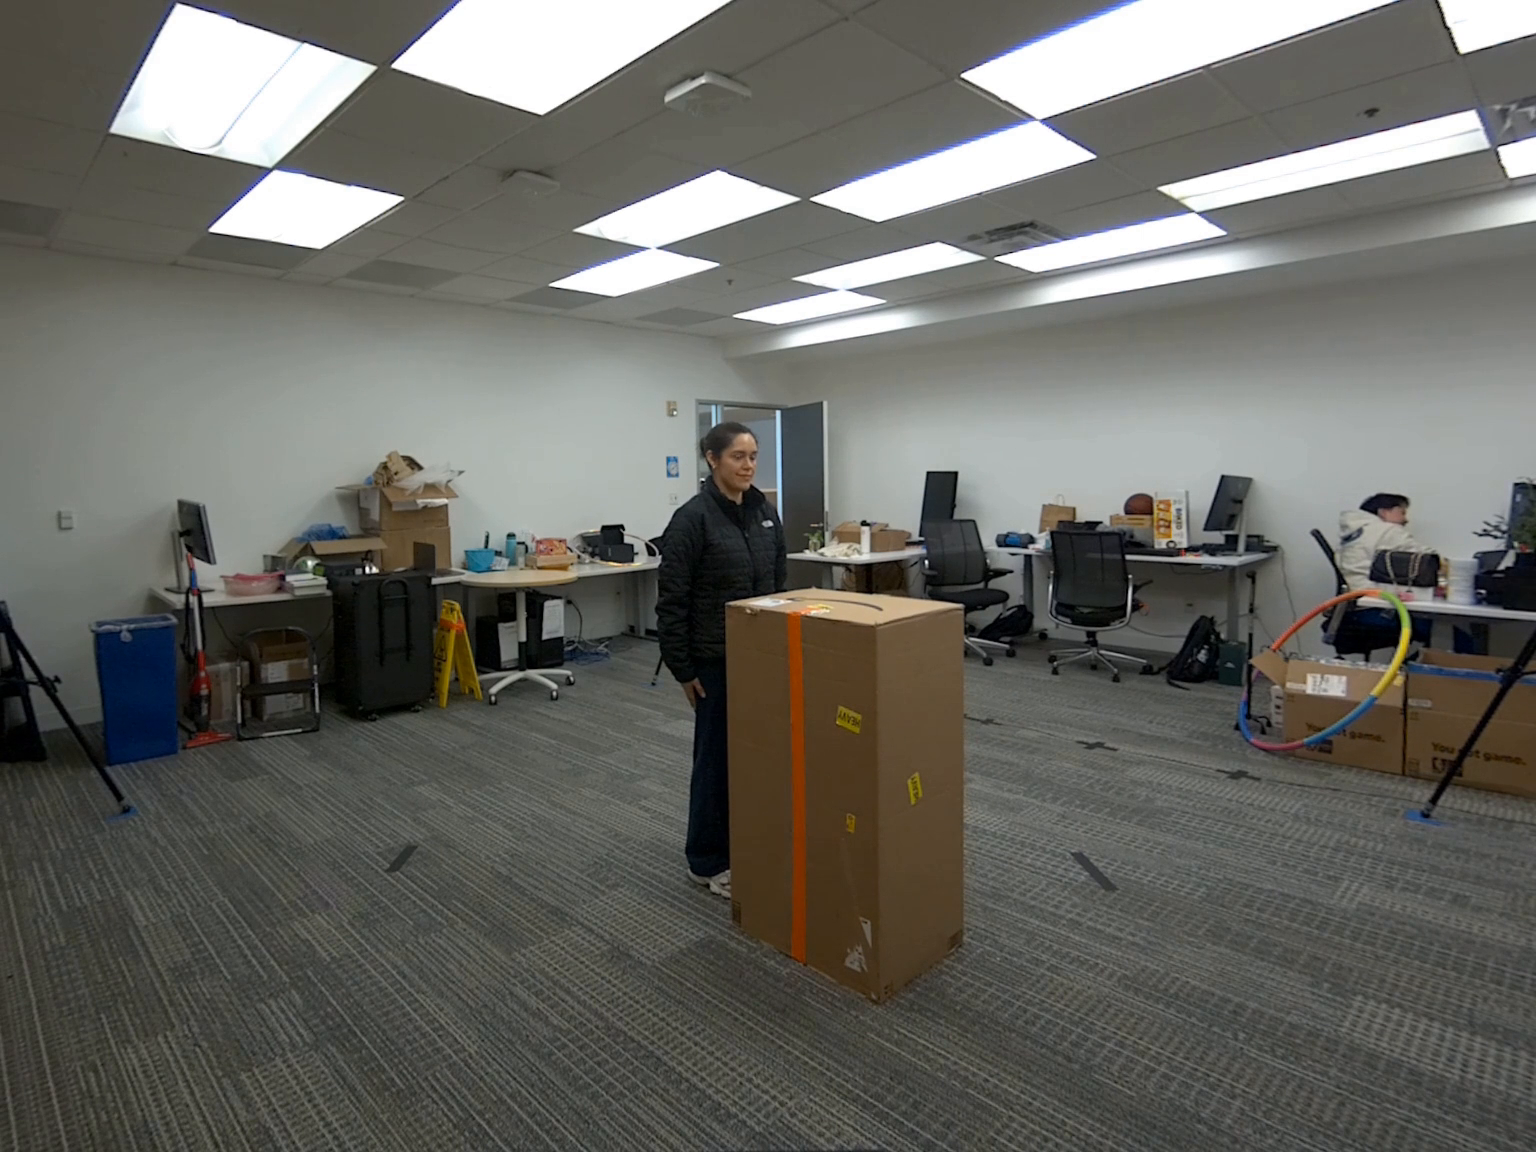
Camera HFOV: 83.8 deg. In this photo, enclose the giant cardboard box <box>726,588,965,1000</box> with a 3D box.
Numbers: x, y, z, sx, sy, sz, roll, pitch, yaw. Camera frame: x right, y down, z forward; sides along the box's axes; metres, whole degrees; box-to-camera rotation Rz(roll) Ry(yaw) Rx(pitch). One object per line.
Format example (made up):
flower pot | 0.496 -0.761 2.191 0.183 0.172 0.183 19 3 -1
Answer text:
giant cardboard box | 0.231 0.591 2.582 0.415 1.022 0.595 -5 6 -45
